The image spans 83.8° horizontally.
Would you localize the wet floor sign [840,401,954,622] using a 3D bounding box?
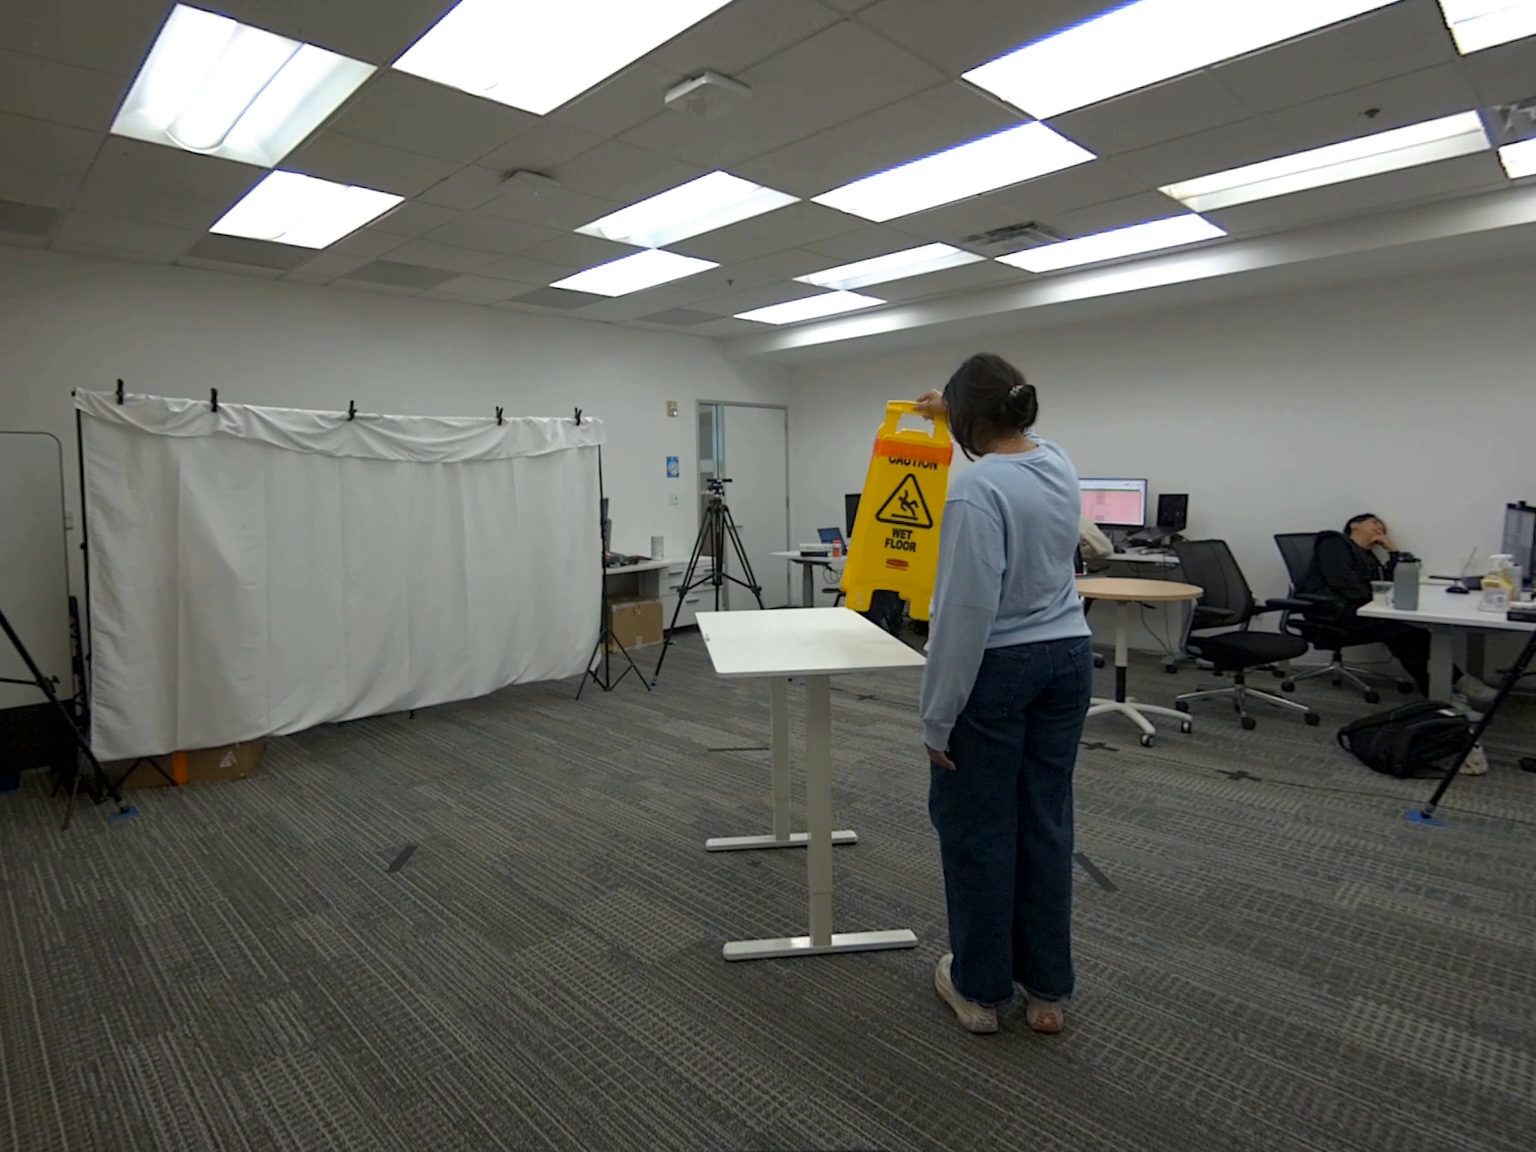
[{"bbox_3d":[0.428,-0.215,2.701,0.282,0.641,0.292,8,10,-1],"label":"wet floor sign"}]
